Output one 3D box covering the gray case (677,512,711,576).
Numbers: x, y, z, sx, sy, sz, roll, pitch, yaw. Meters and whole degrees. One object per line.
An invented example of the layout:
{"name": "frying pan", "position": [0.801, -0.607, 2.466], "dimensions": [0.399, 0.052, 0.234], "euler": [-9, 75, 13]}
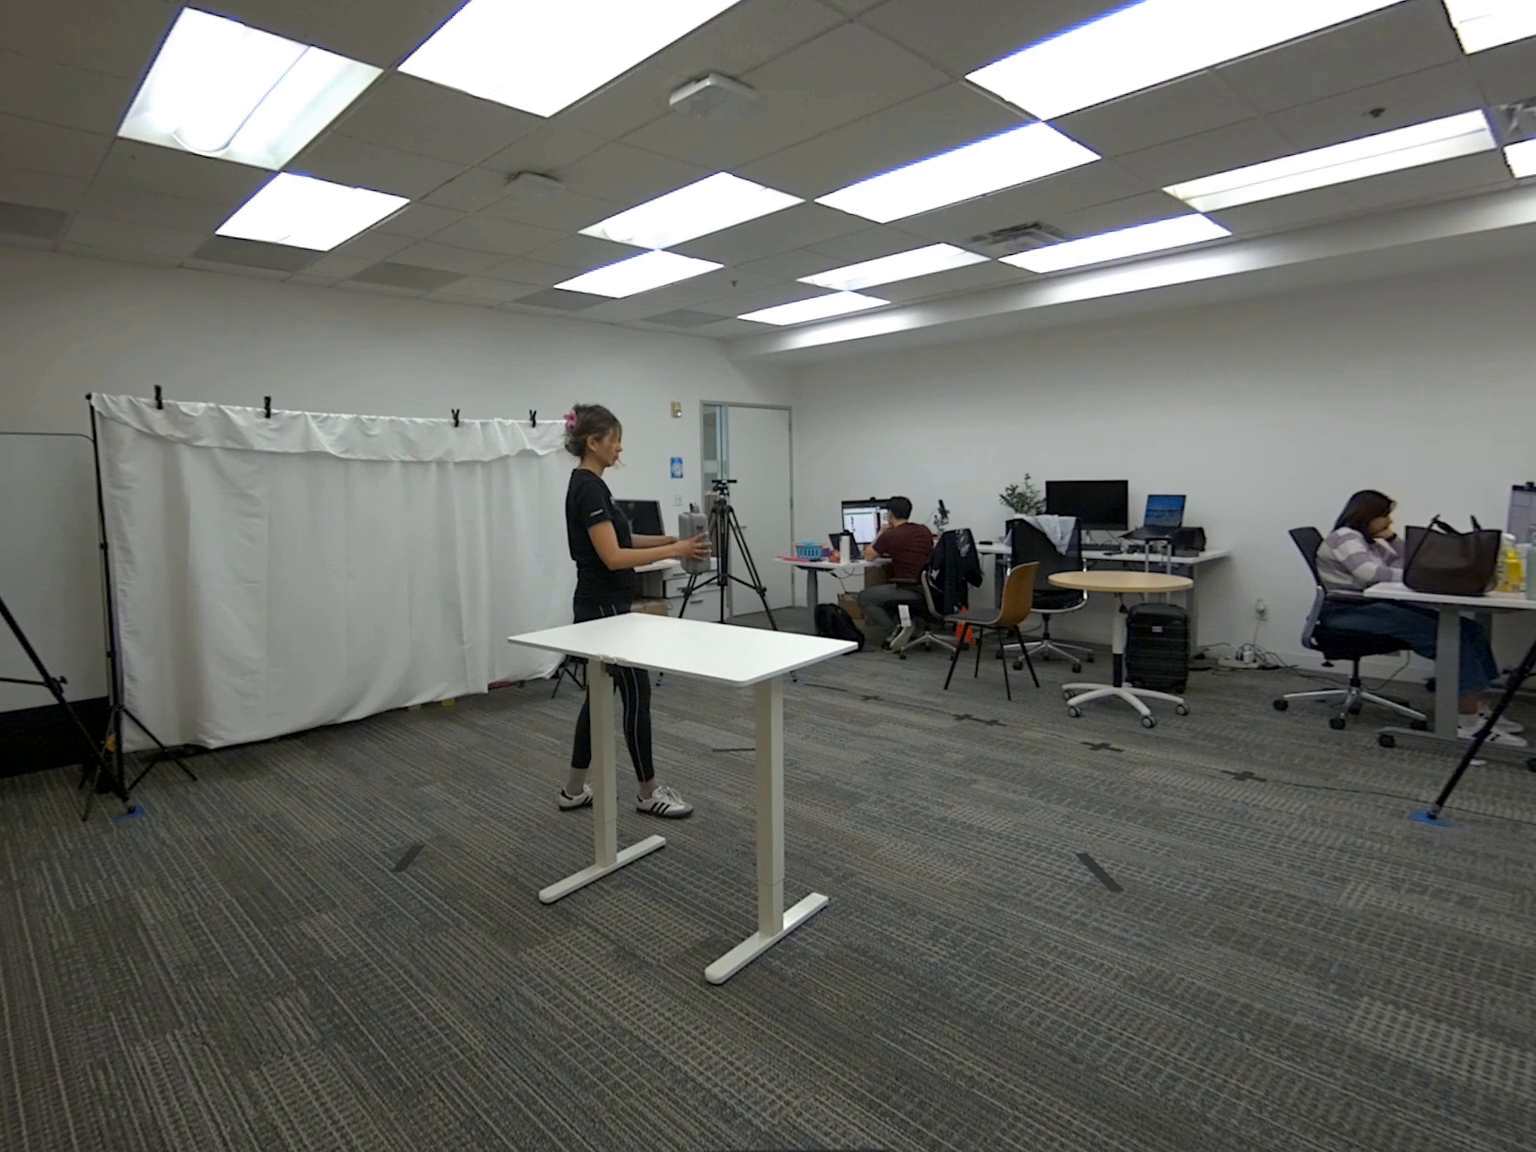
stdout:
{"name": "gray case", "position": [-0.321, -0.155, 3.702], "dimensions": [0.103, 0.259, 0.261], "euler": [-4, 8, -12]}
